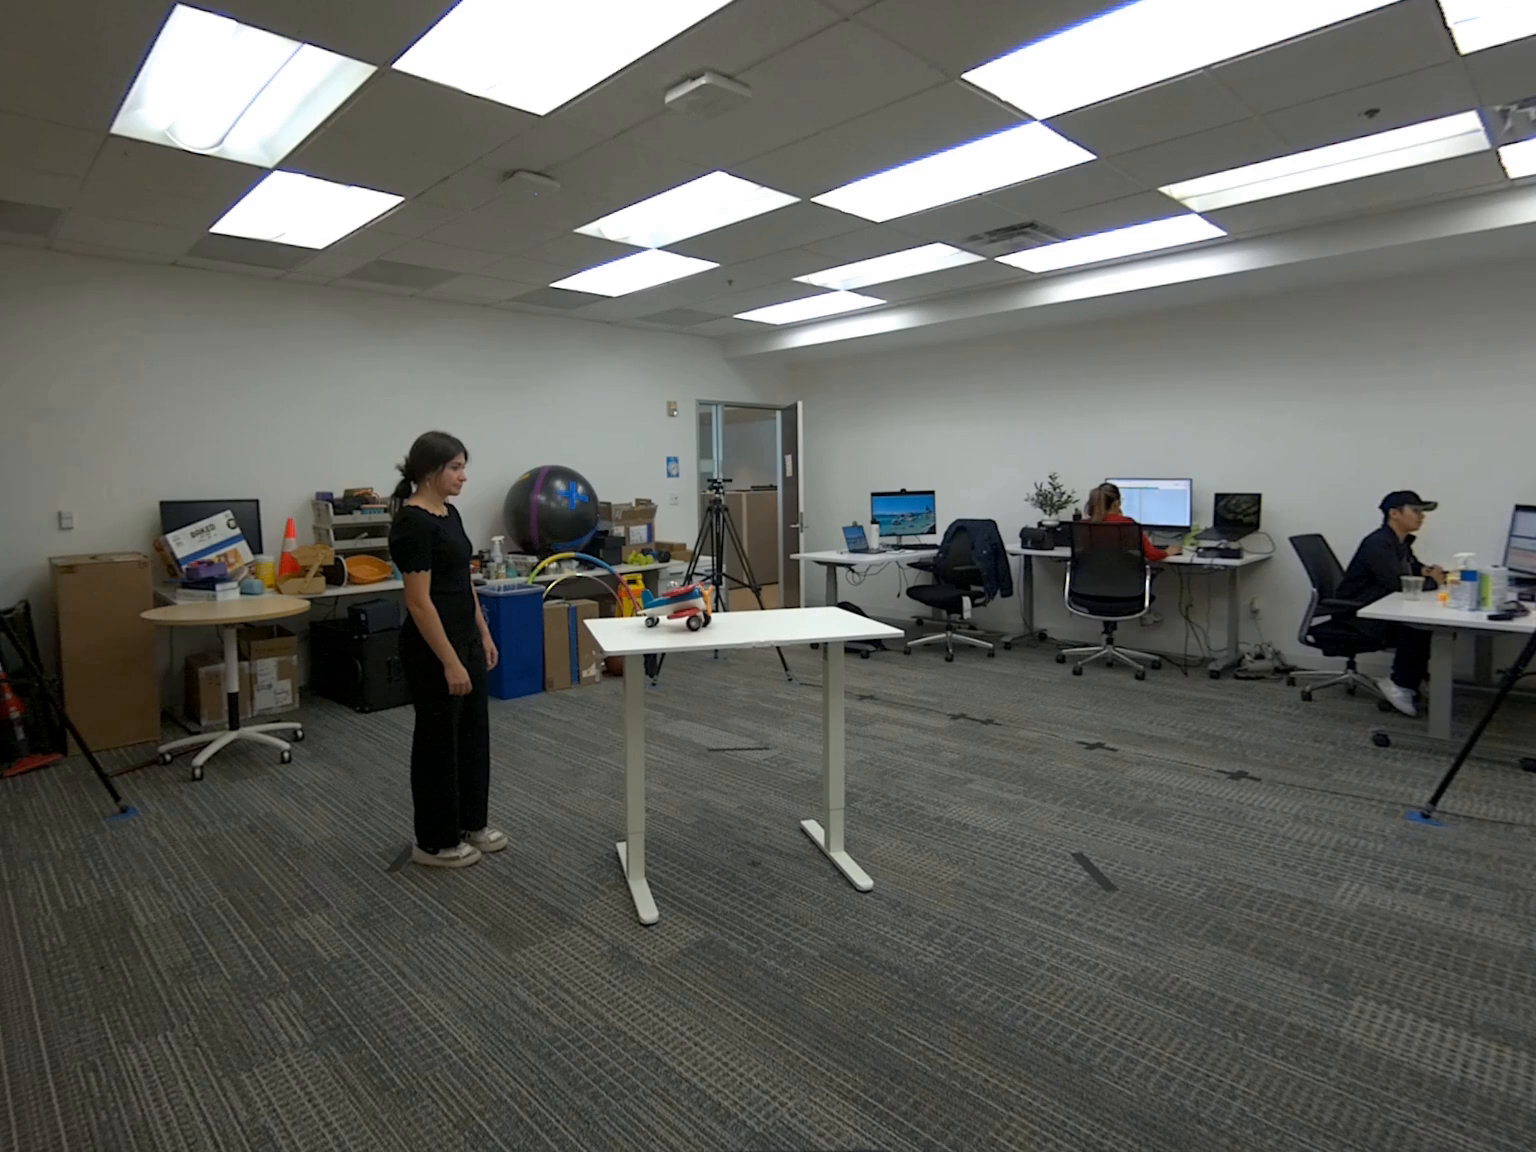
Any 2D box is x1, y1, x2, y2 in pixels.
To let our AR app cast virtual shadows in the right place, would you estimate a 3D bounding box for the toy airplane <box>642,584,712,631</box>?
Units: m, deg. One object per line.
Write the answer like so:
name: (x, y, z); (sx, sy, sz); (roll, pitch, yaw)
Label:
toy airplane: (-0.325, 0.106, 2.947); (0.256, 0.156, 0.254); (-1, 4, -11)
